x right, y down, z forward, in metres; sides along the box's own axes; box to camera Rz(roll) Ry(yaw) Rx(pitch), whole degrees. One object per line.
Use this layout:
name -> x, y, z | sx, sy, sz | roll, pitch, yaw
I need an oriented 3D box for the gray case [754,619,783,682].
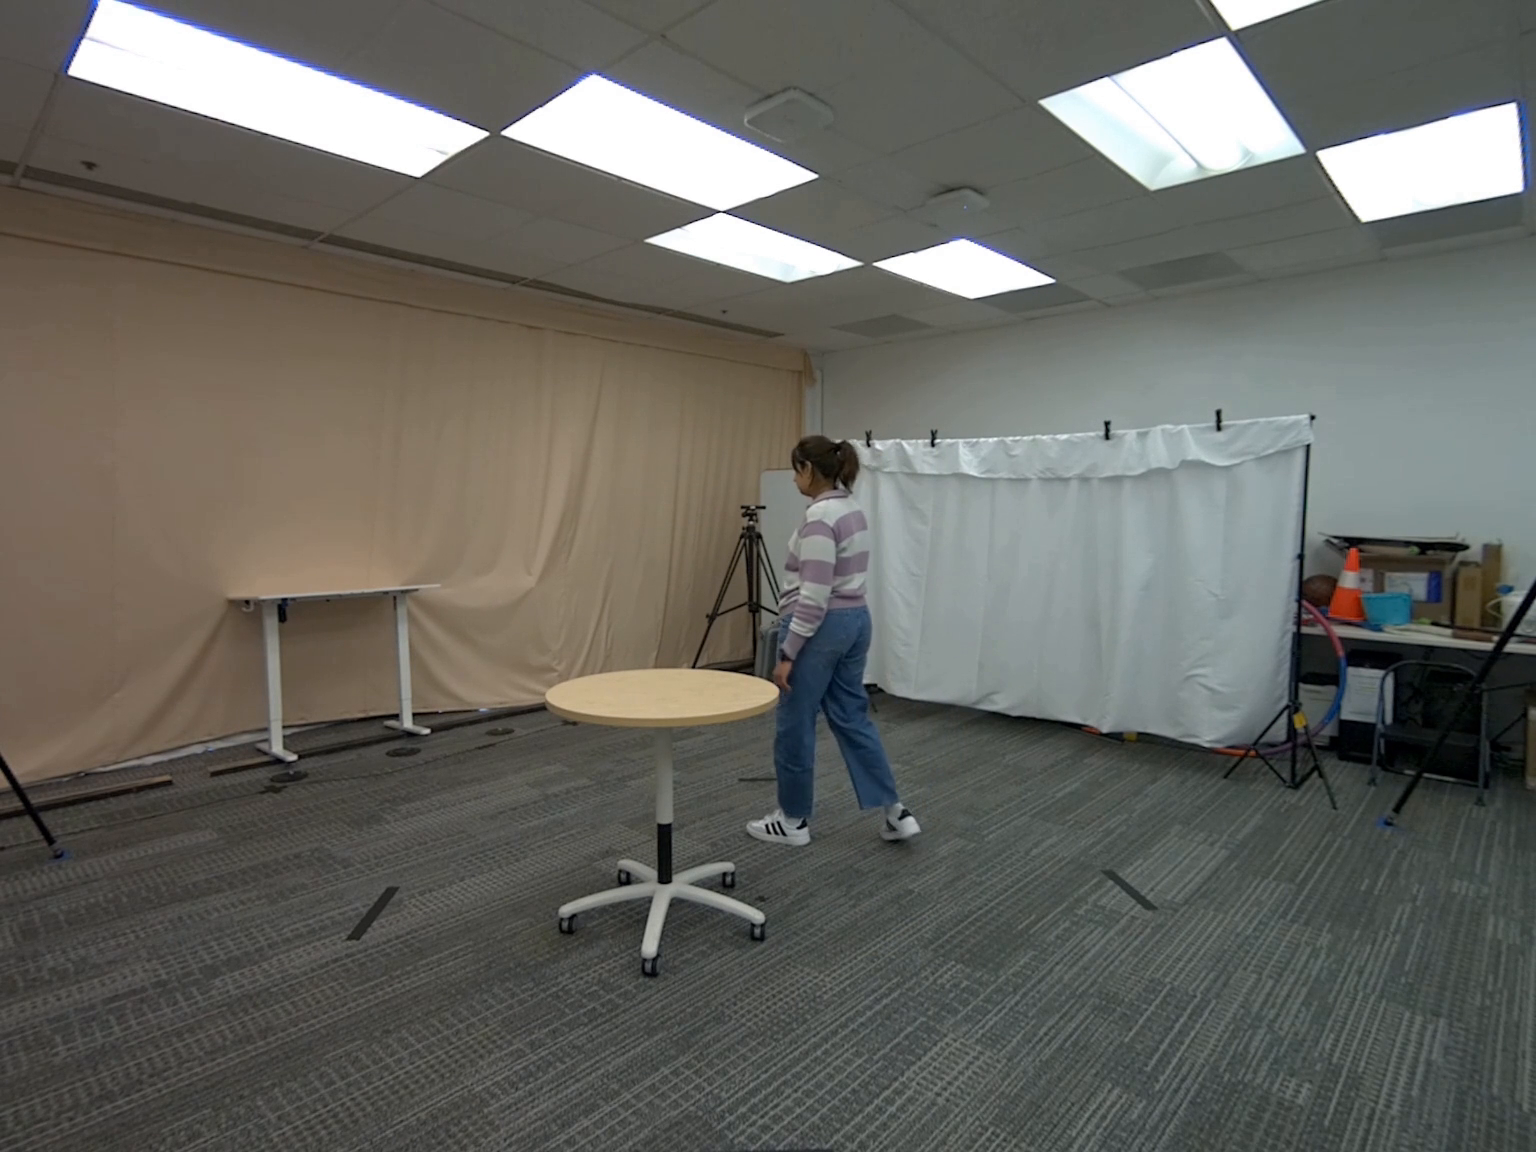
gray case -> 0.081, 0.328, 3.685 | 0.250, 0.259, 0.108 | -1, 11, -30
